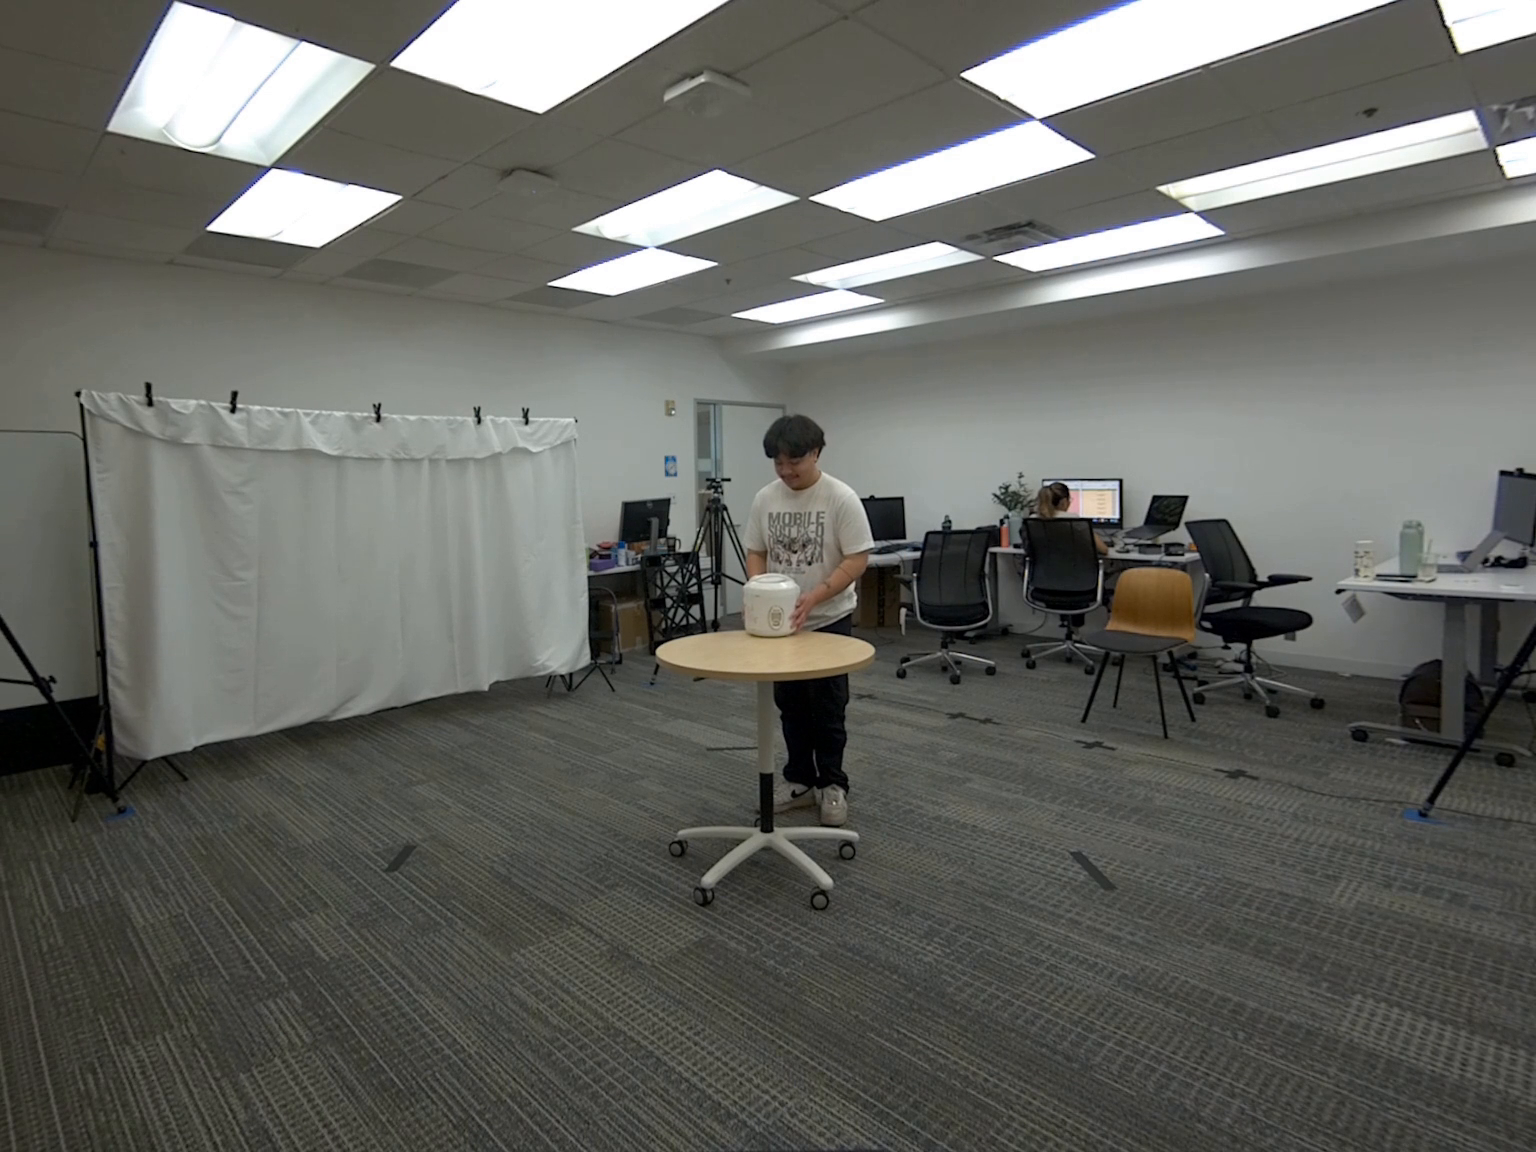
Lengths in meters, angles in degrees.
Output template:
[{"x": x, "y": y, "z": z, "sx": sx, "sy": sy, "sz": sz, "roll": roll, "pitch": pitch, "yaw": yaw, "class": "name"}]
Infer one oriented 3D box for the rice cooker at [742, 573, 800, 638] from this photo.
[{"x": 0.005, "y": 0.108, "z": 3.291, "sx": 0.219, "sy": 0.231, "sz": 0.220, "roll": -2, "pitch": 6, "yaw": -9, "class": "rice cooker"}]
